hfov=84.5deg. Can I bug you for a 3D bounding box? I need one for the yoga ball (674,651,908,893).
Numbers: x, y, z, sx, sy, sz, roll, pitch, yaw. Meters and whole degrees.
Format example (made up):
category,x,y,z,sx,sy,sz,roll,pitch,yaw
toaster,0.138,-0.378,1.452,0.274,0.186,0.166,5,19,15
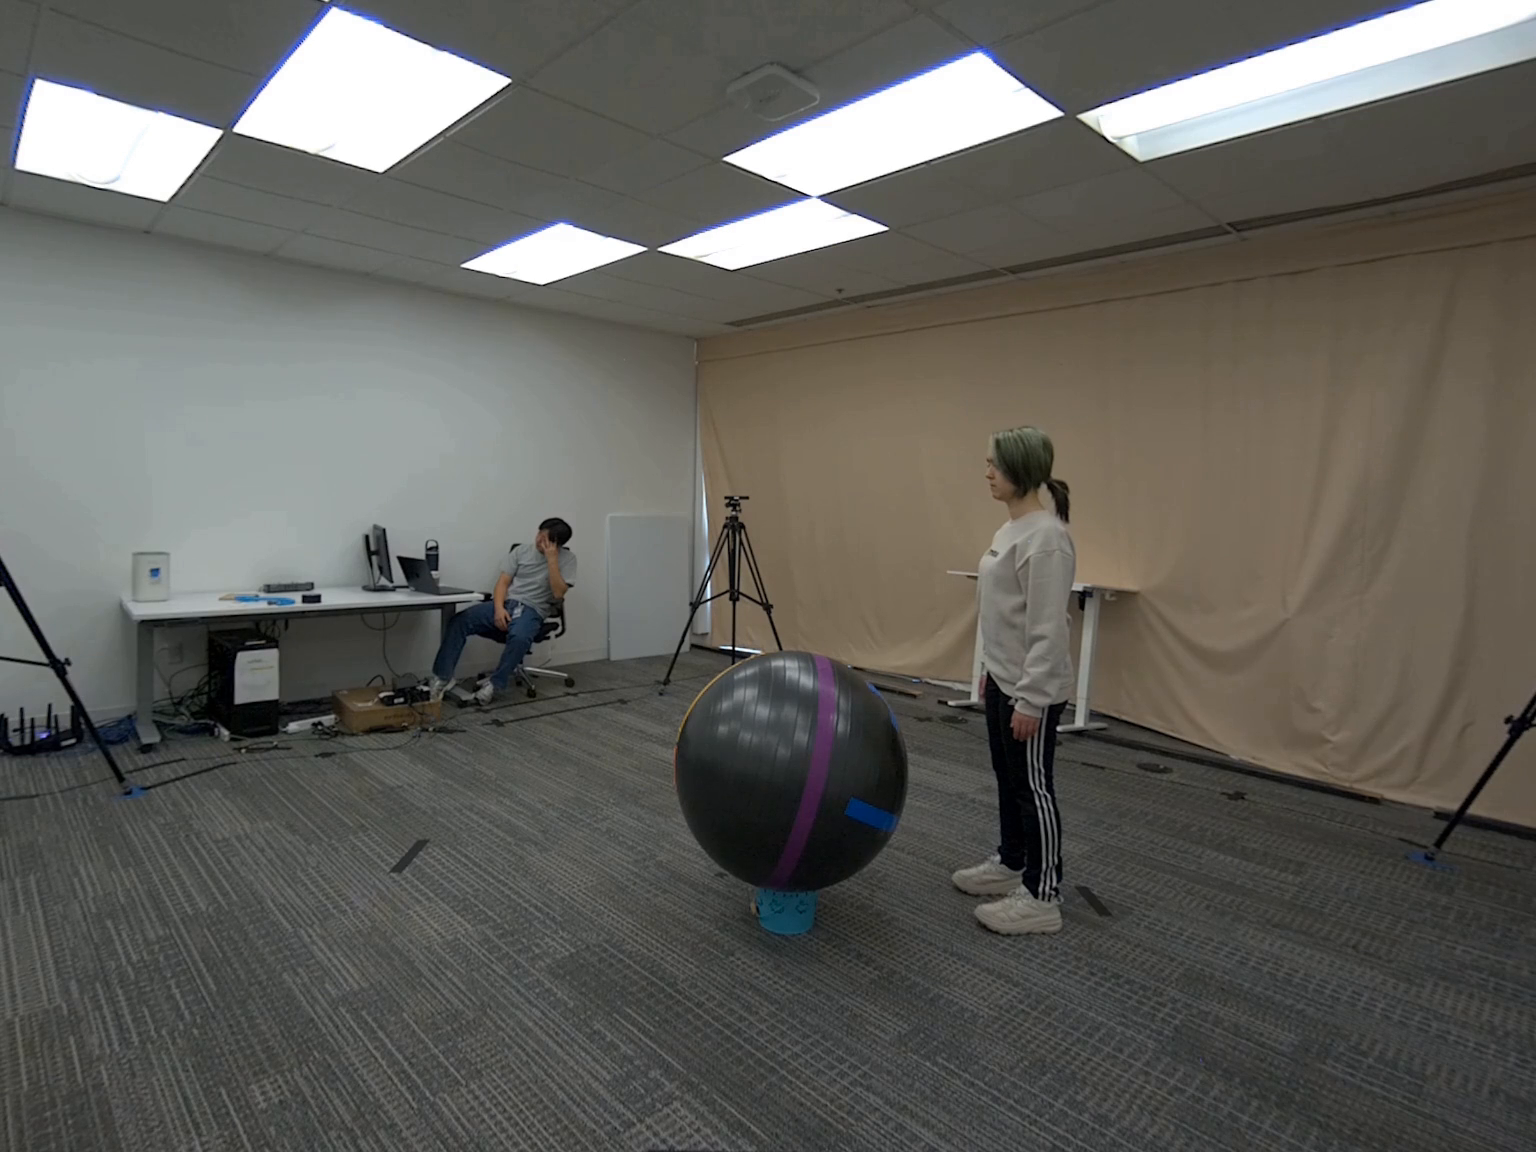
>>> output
category,x,y,z,sx,sy,sz,roll,pitch,yaw
yoga ball,0.064,0.630,2.749,0.757,0.756,0.761,1,4,-1
